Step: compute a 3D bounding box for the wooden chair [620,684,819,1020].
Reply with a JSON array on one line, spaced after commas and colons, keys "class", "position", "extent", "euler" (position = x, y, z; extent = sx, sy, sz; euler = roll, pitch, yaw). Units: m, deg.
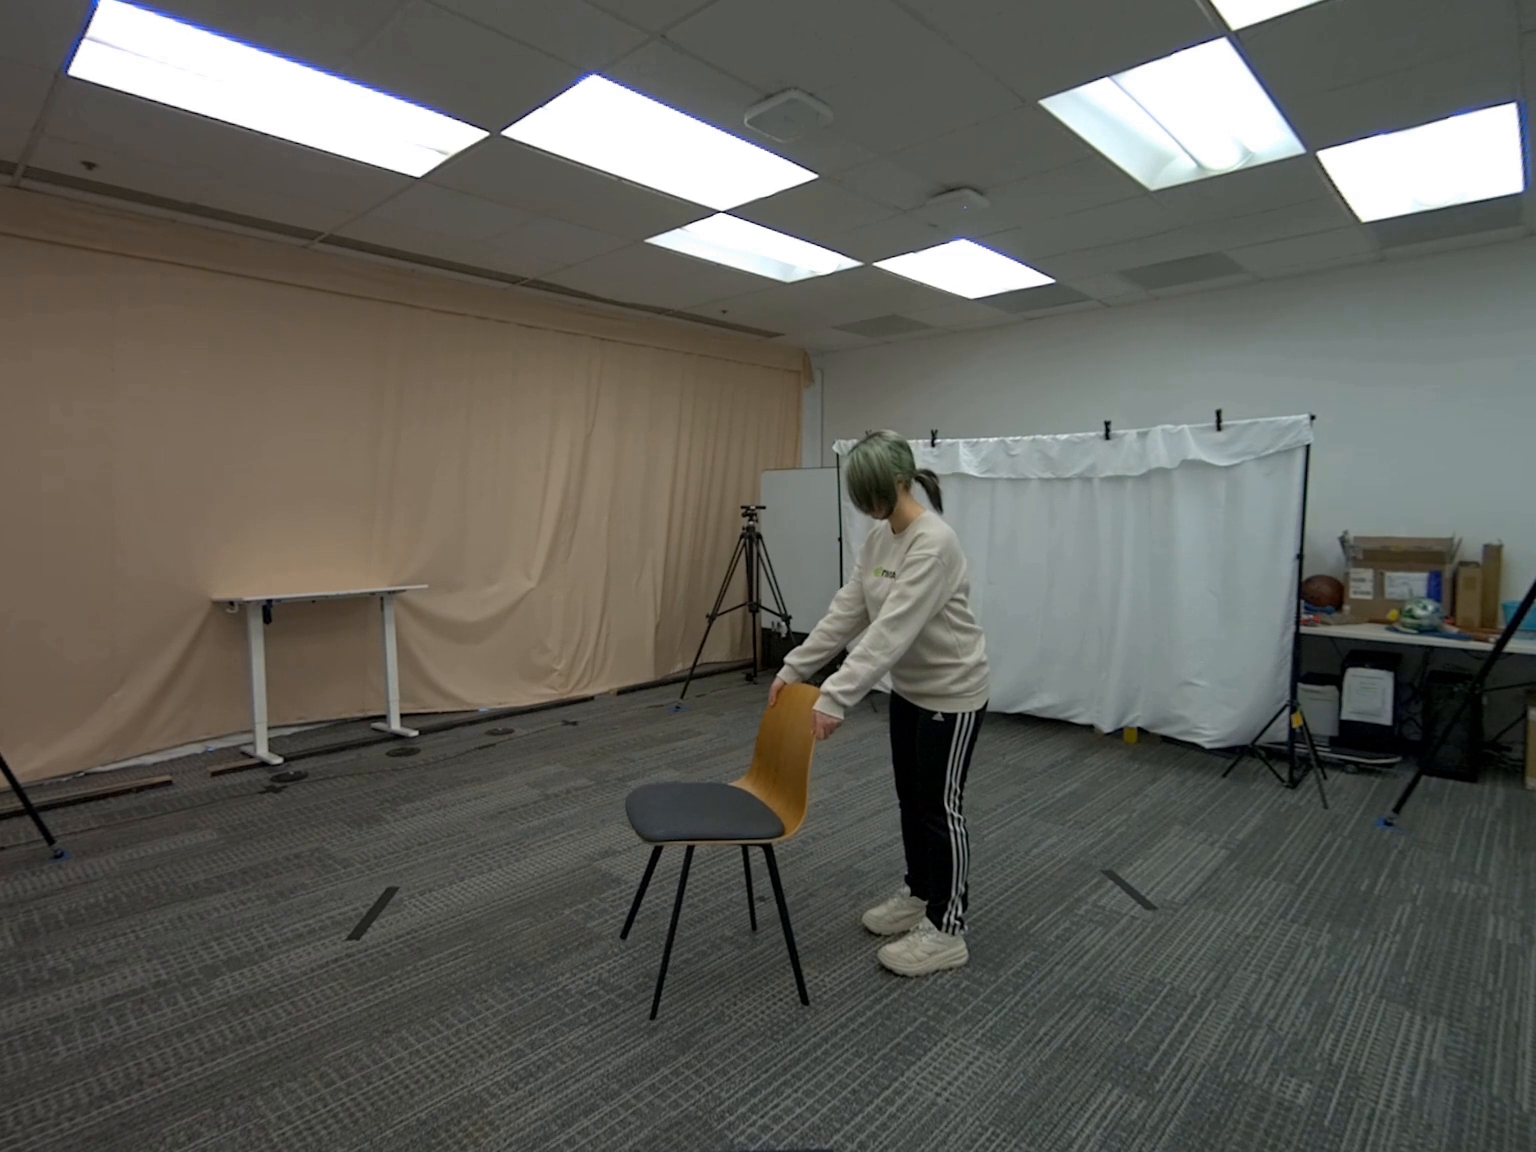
[{"class": "wooden chair", "position": [-0.146, 0.746, 2.476], "extent": [0.512, 0.877, 0.488], "euler": [8, 1, -19]}]
